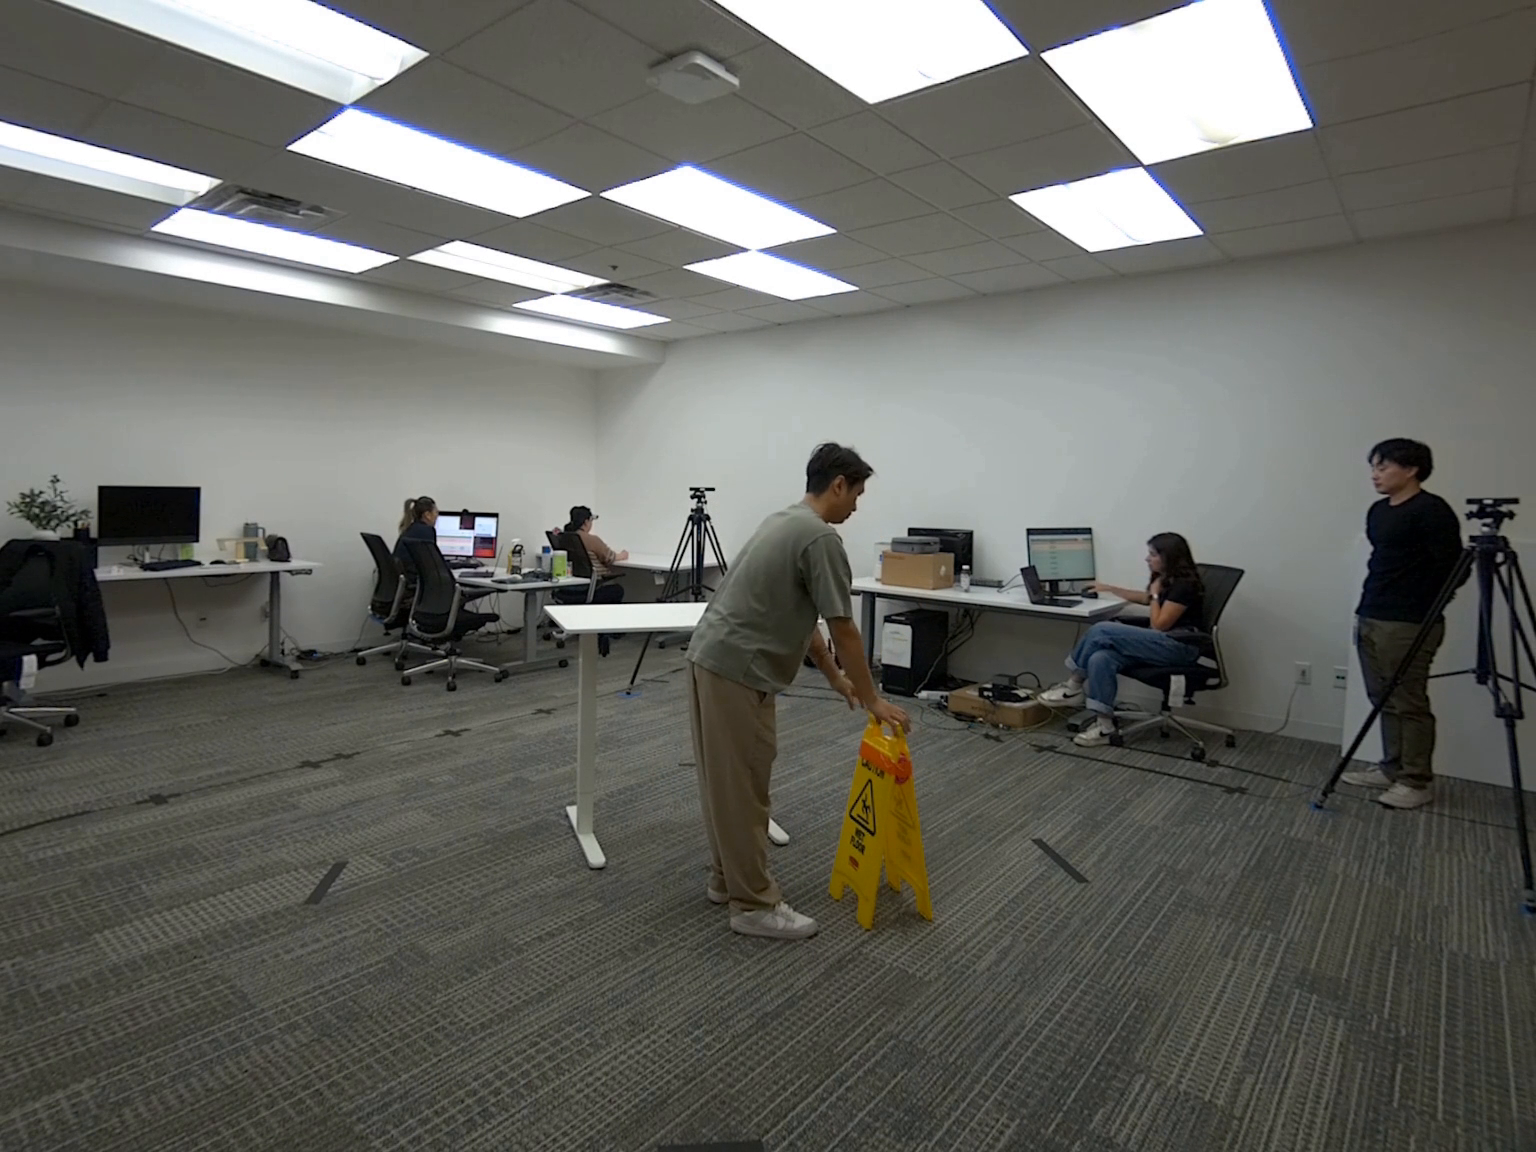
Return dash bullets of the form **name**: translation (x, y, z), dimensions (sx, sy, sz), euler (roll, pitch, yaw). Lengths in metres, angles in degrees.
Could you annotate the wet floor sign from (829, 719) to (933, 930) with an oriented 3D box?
- **wet floor sign**: translation (0.379, 0.782, 2.840), dimensions (0.284, 0.644, 0.289), euler (2, 4, -20)
